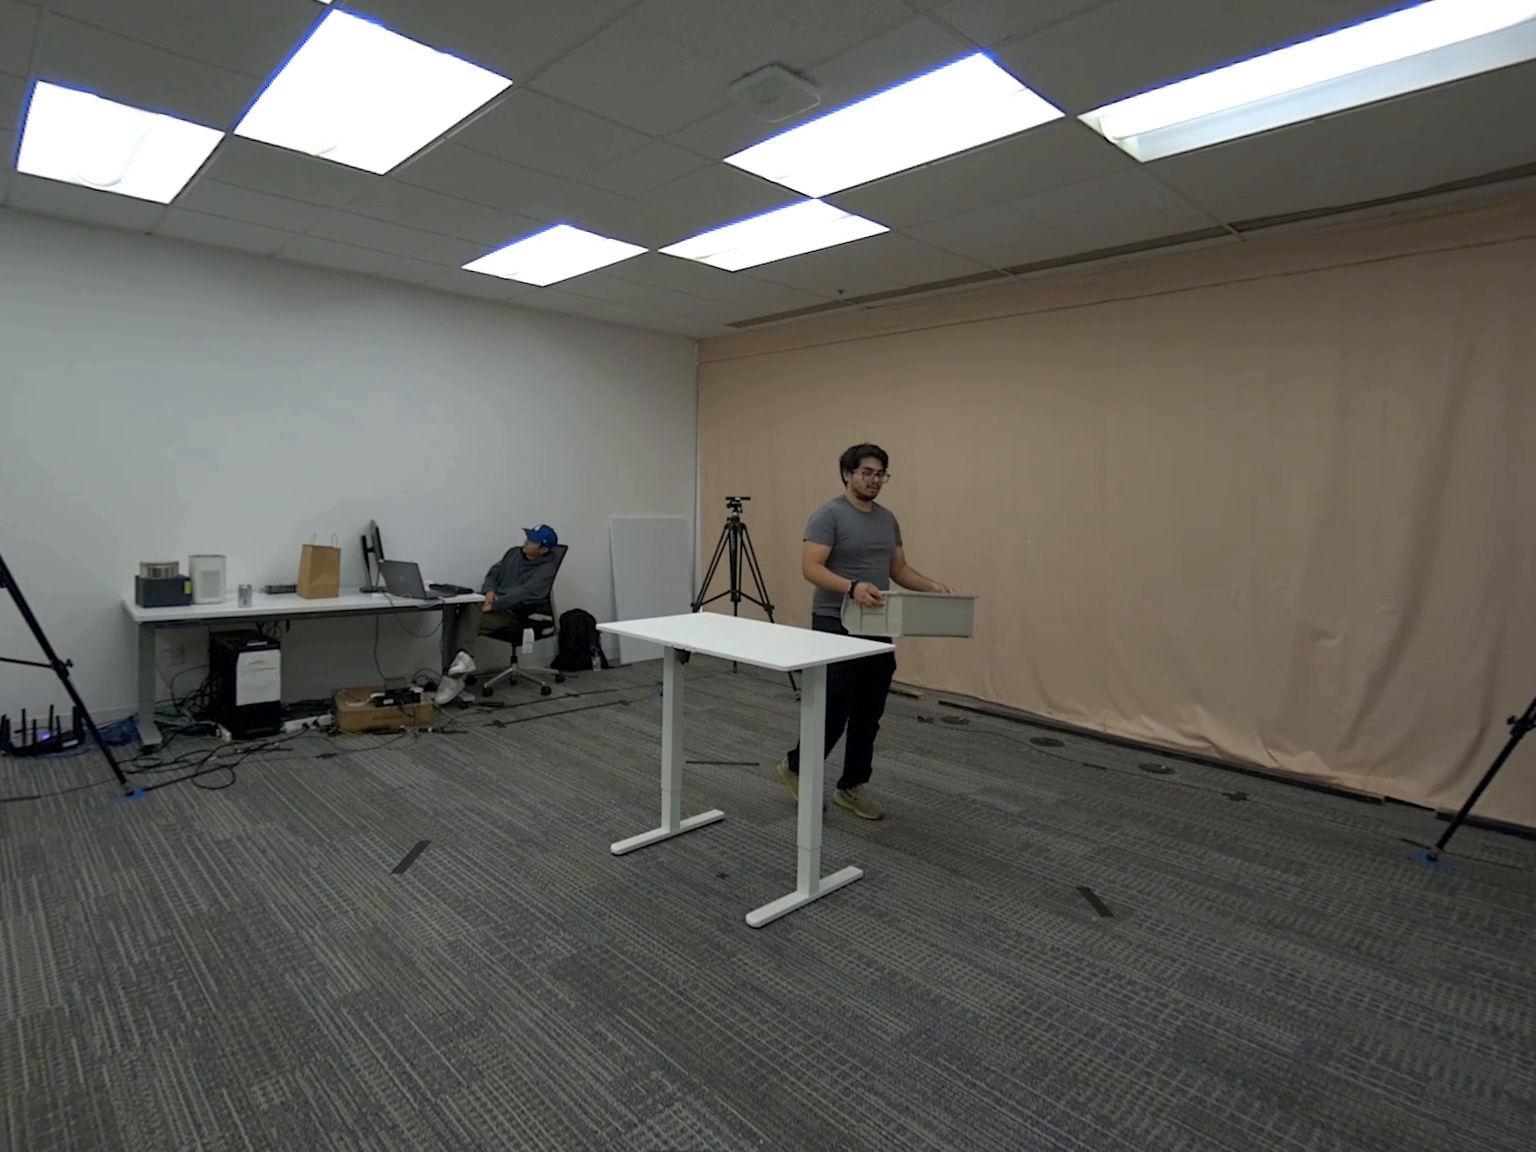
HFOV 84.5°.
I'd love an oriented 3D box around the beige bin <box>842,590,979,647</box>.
[{"bbox_3d":[0.571,0.165,3.513,0.413,0.189,0.386,4,2,-31],"label":"beige bin"}]
